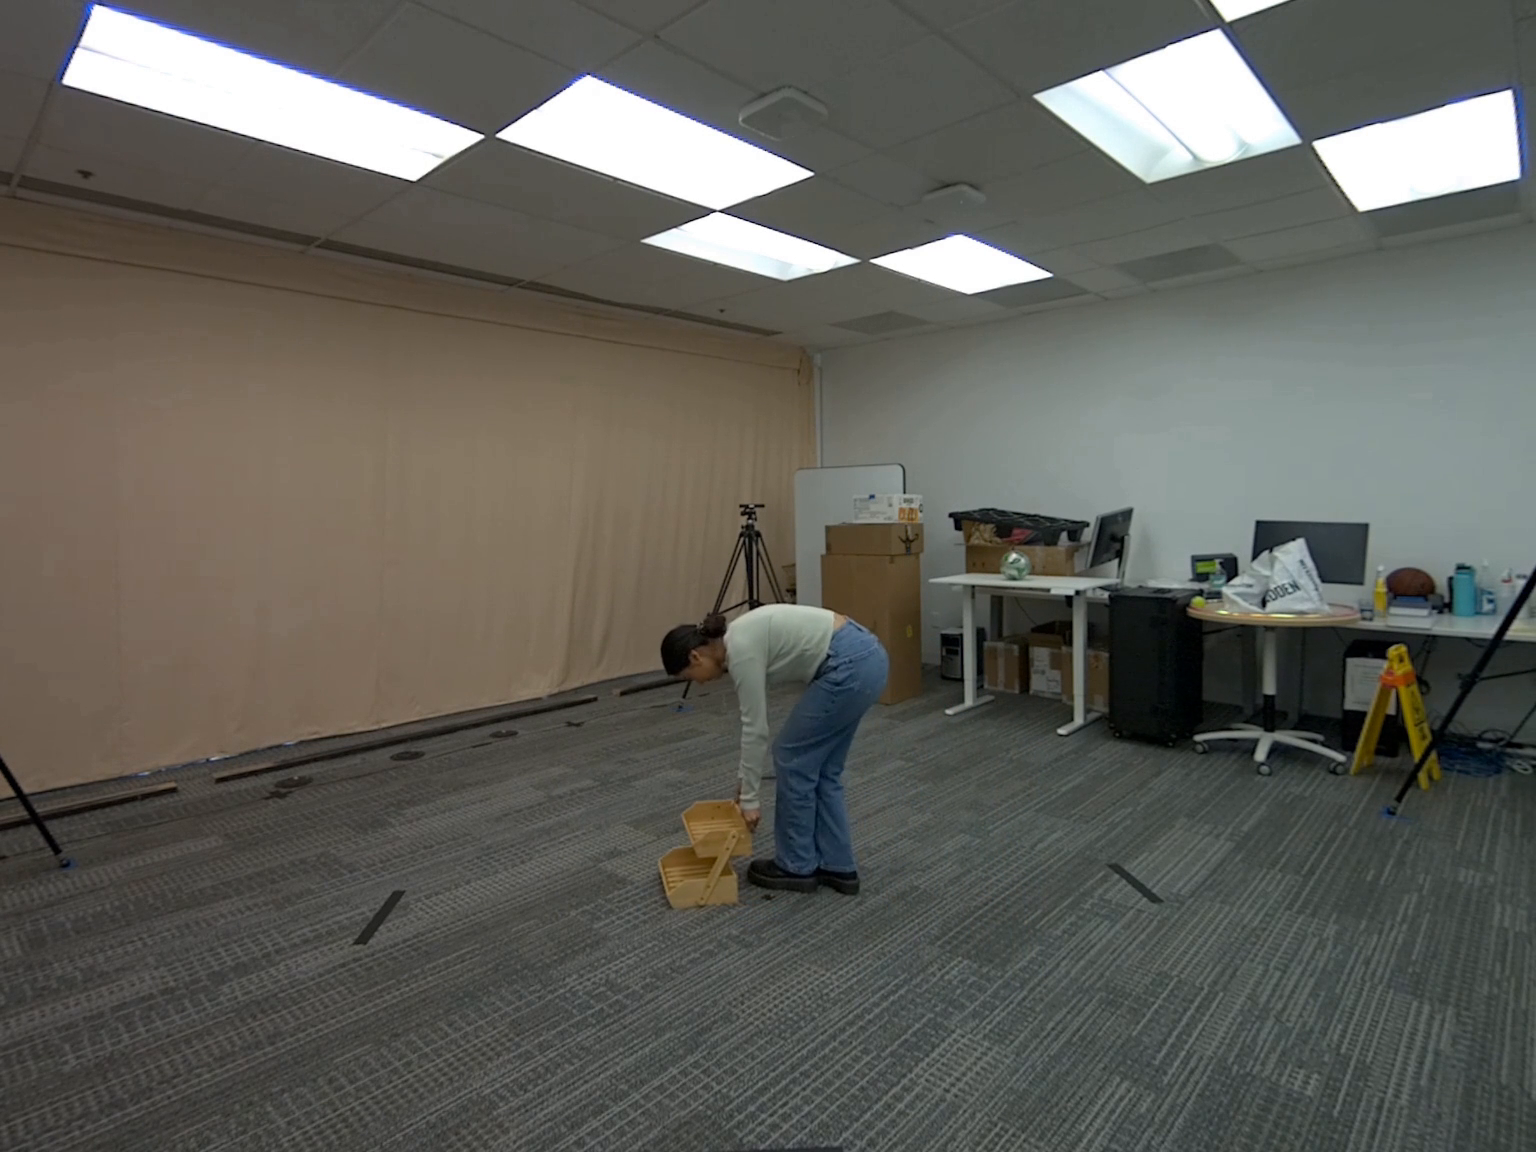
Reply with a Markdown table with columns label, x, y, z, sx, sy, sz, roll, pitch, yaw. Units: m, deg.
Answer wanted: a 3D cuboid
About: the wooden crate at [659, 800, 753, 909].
| label | x | y | z | sx | sy | sz | roll | pitch | yaw |
| --- | --- | --- | --- | --- | --- | --- | --- | --- | --- |
| wooden crate | -0.241 | 1.005 | 3.075 | 0.298 | 0.272 | 0.329 | -2 | 4 | -12 |
